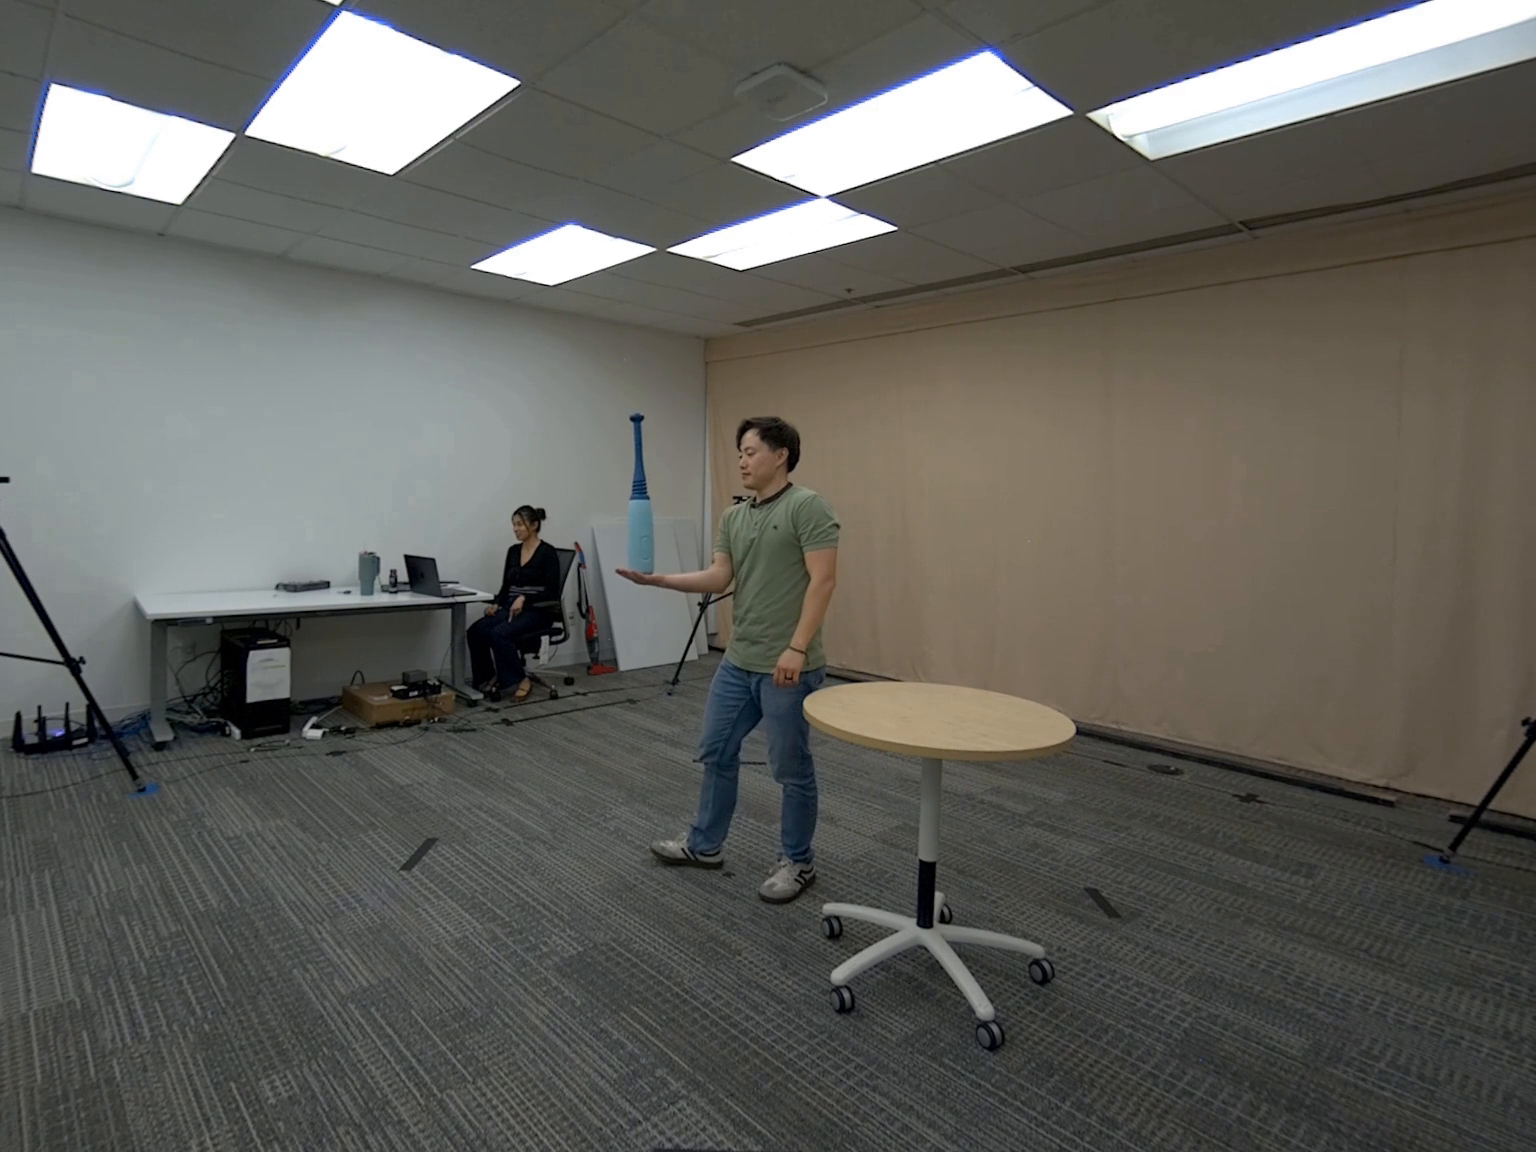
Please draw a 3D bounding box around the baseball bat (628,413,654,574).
[{"bbox_3d":[-0.441,-0.275,2.814,0.089,0.543,0.089,-1,0,-1],"label":"baseball bat"}]
